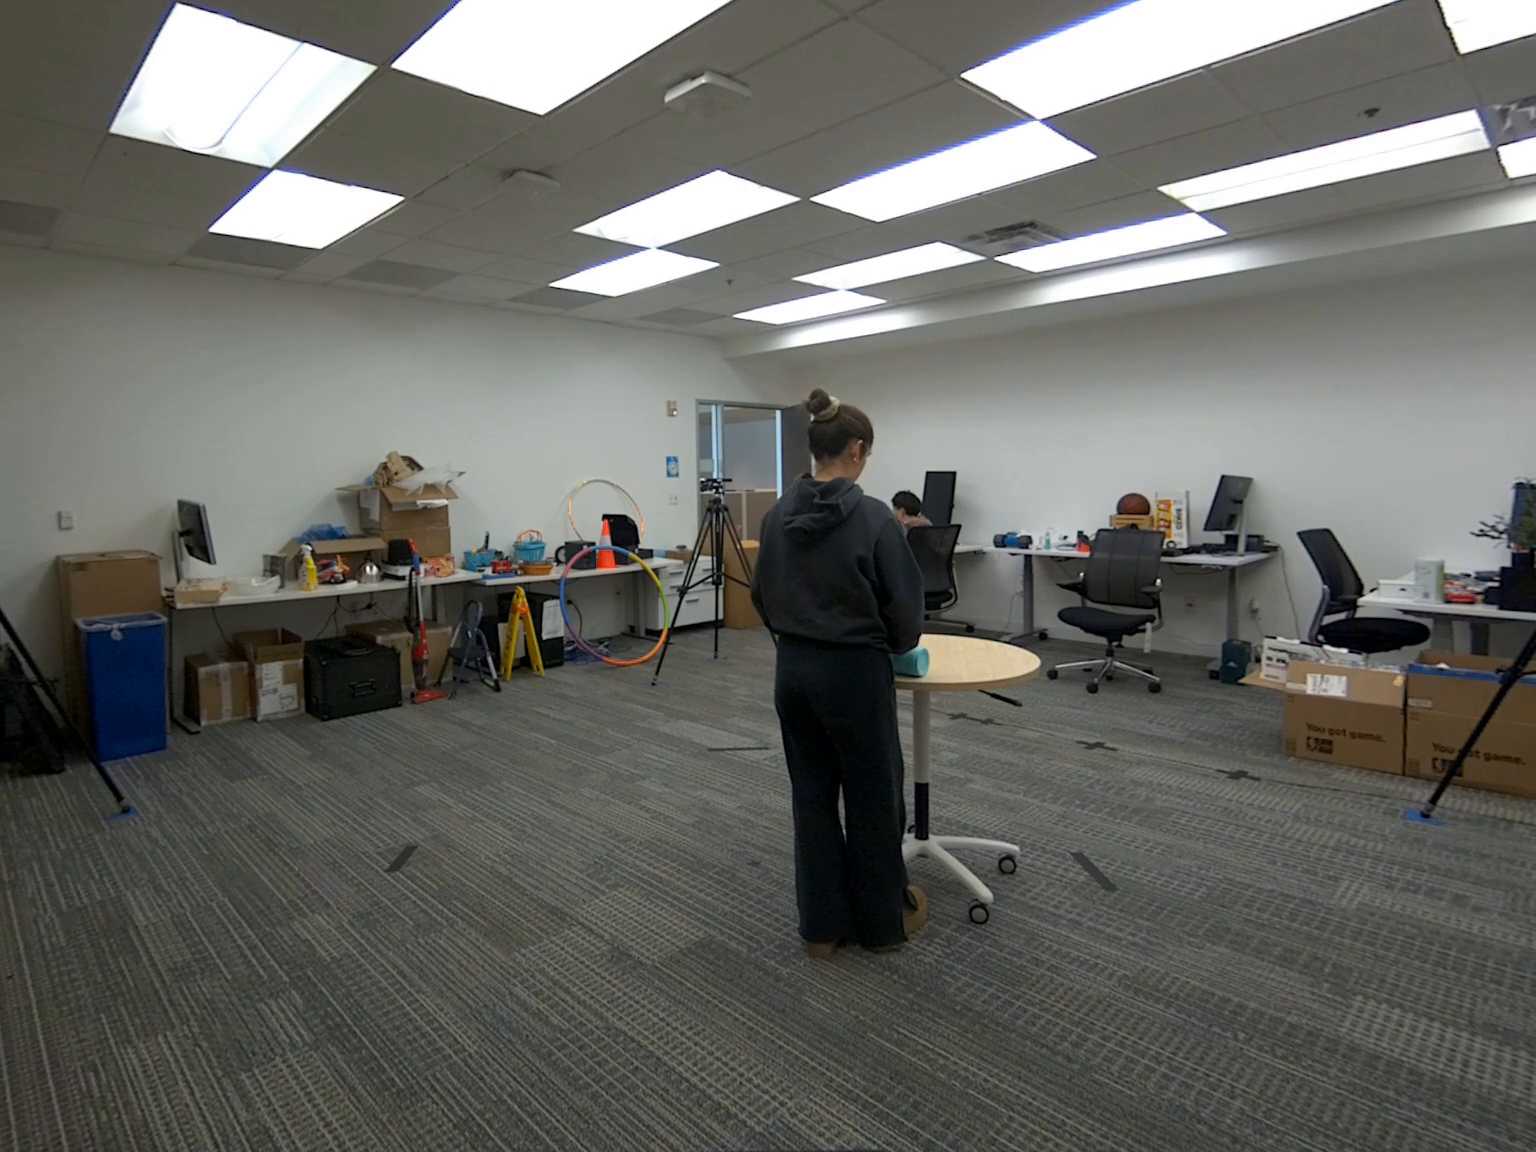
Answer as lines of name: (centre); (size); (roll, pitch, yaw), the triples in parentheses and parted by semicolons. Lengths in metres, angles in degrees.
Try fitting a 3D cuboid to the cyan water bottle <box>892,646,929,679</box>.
cyan water bottle: (0.377, 0.254, 2.702); (0.292, 0.092, 0.090); (4, 6, 38)
